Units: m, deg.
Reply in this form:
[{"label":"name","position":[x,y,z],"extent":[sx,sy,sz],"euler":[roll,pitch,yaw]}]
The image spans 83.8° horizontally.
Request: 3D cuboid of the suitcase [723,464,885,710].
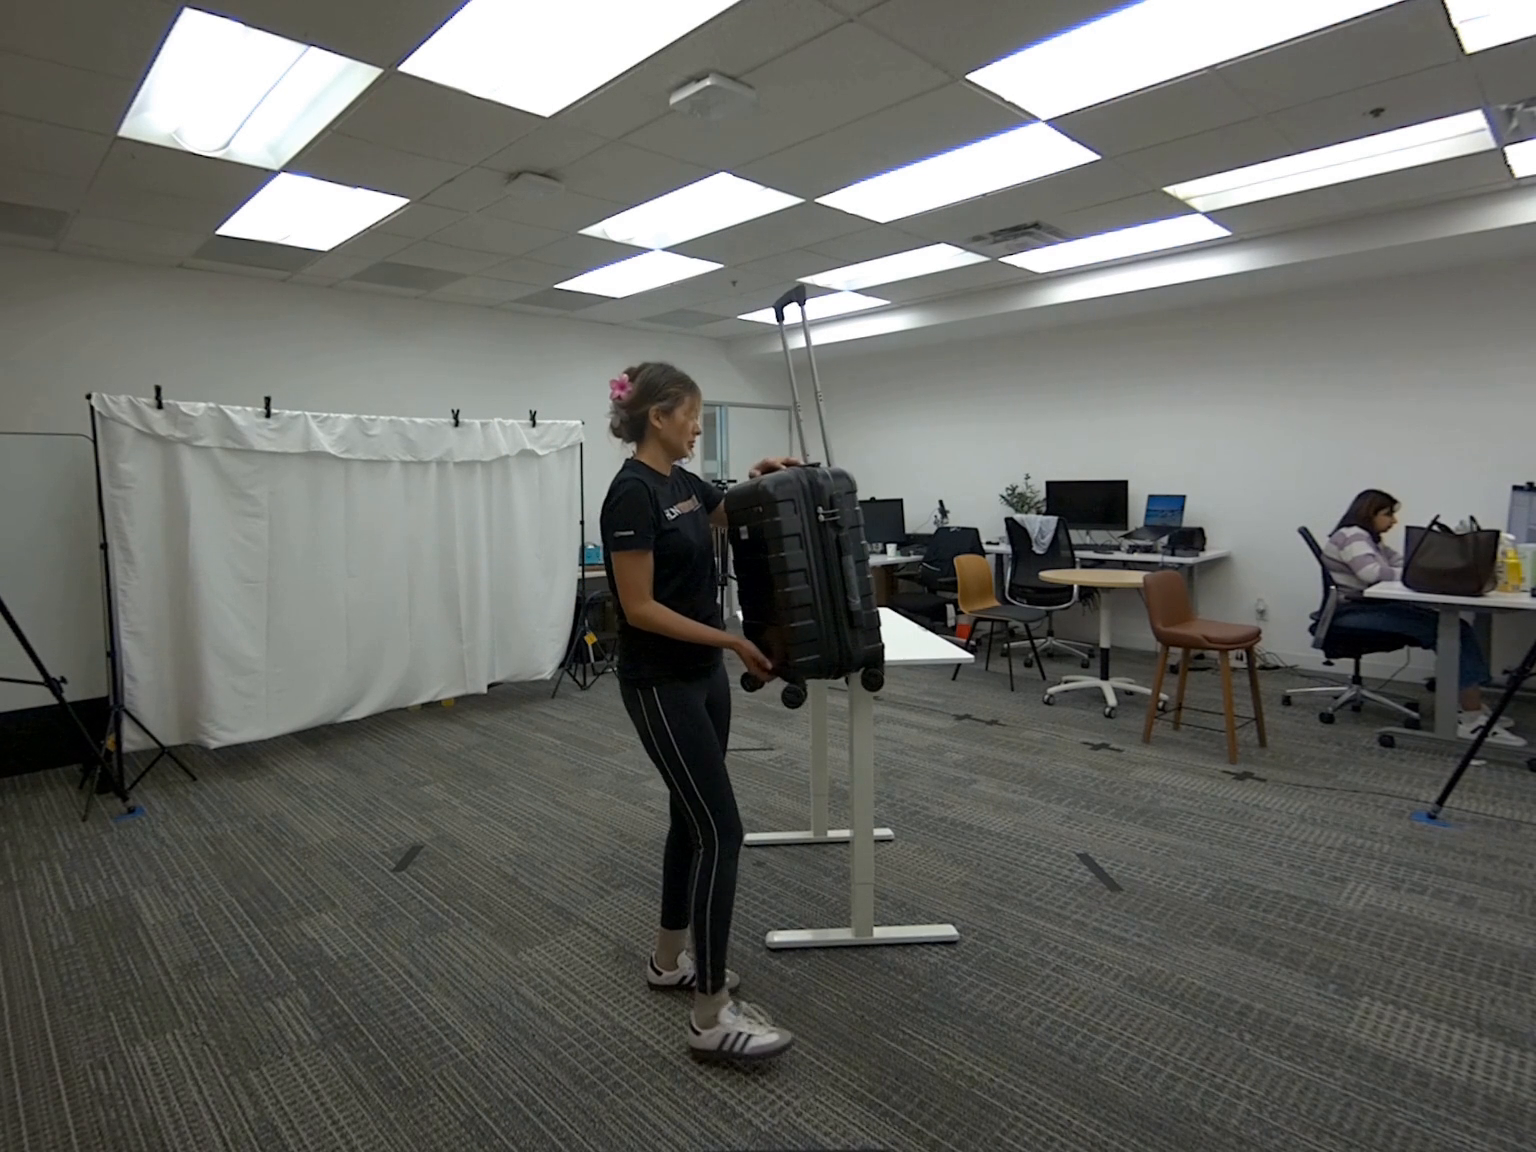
[{"label":"suitcase","position":[0.047,-0.200,2.099],"extent":[0.253,0.978,0.389],"euler":[-10,1,-19]}]
